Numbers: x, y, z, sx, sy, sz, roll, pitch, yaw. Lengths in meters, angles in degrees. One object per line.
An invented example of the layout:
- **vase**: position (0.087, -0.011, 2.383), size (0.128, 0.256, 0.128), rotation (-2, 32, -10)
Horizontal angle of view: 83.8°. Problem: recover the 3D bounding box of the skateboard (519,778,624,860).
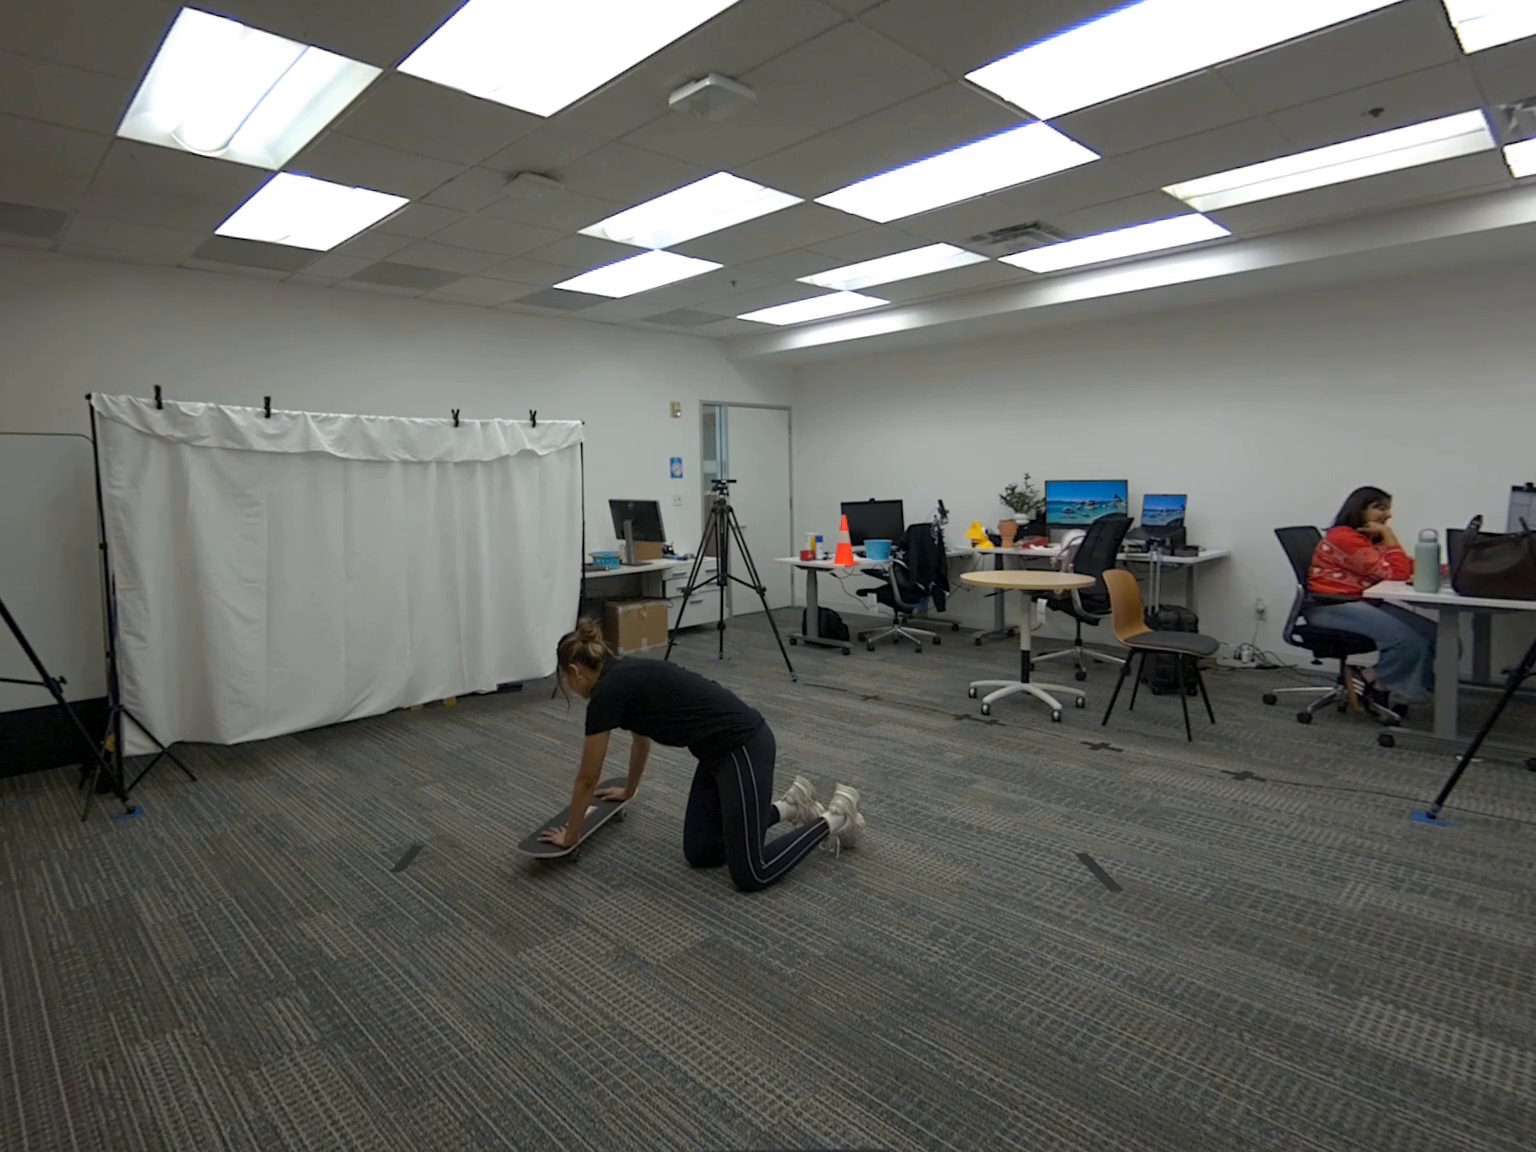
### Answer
- **skateboard**: position (-0.725, 0.974, 3.364), size (0.196, 0.110, 0.776), rotation (2, 7, 15)
